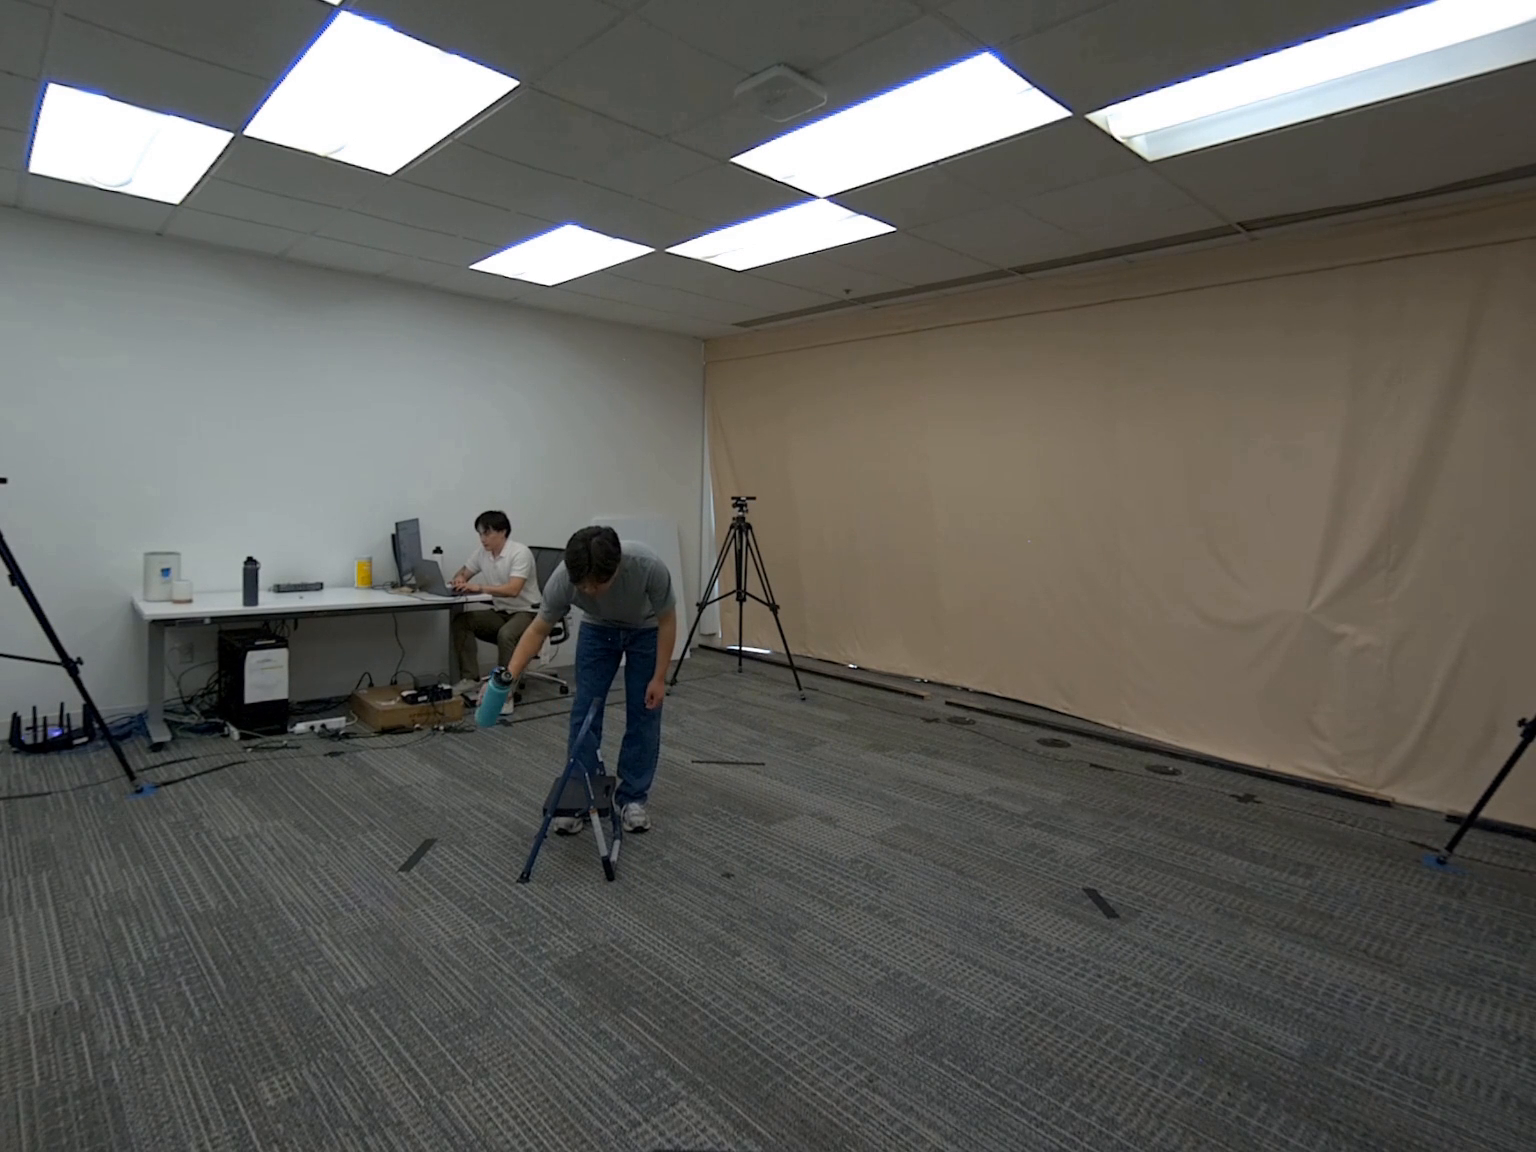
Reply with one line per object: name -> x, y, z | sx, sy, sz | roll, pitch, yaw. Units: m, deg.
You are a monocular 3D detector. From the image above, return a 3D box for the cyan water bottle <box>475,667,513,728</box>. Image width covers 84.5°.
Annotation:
cyan water bottle -> -1.048, 0.485, 3.238 | 0.091, 0.281, 0.094 | 19, 34, -15
